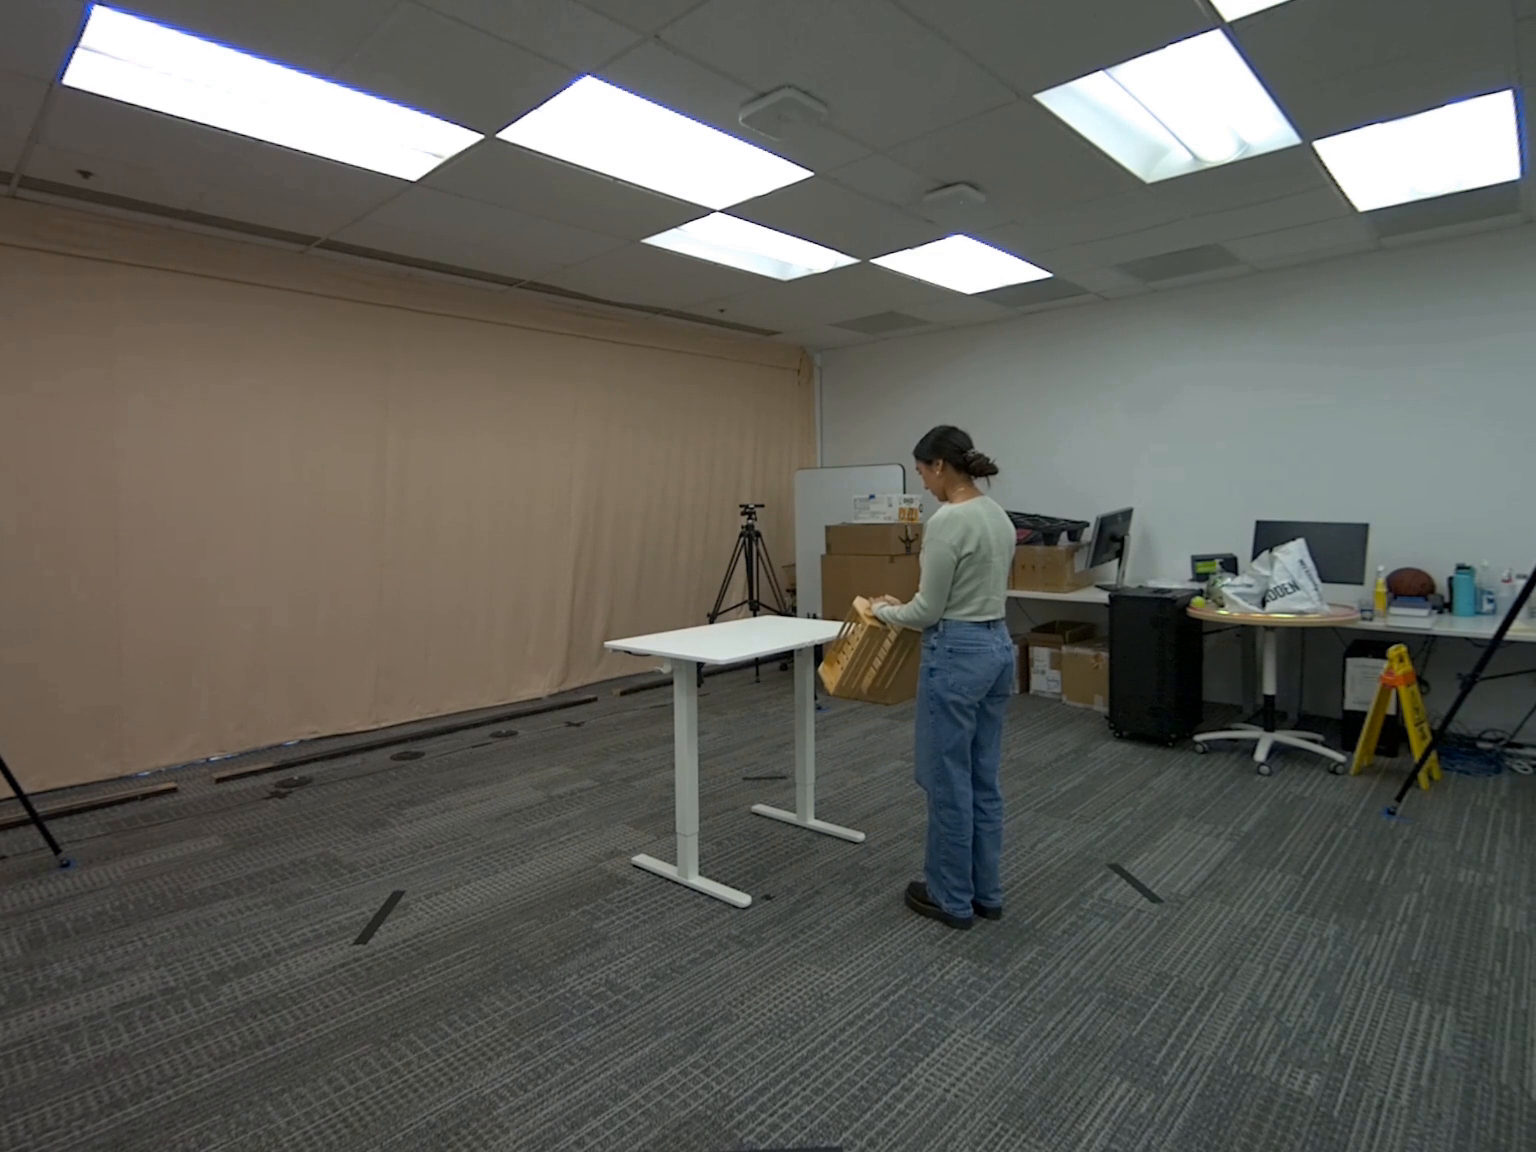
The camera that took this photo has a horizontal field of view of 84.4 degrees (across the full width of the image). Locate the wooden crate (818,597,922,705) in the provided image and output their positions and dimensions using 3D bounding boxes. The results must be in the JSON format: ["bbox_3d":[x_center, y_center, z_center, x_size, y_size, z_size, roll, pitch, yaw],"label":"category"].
[{"bbox_3d":[0.357,0.245,3.057,0.267,0.323,0.310,15,22,-23],"label":"wooden crate"}]
